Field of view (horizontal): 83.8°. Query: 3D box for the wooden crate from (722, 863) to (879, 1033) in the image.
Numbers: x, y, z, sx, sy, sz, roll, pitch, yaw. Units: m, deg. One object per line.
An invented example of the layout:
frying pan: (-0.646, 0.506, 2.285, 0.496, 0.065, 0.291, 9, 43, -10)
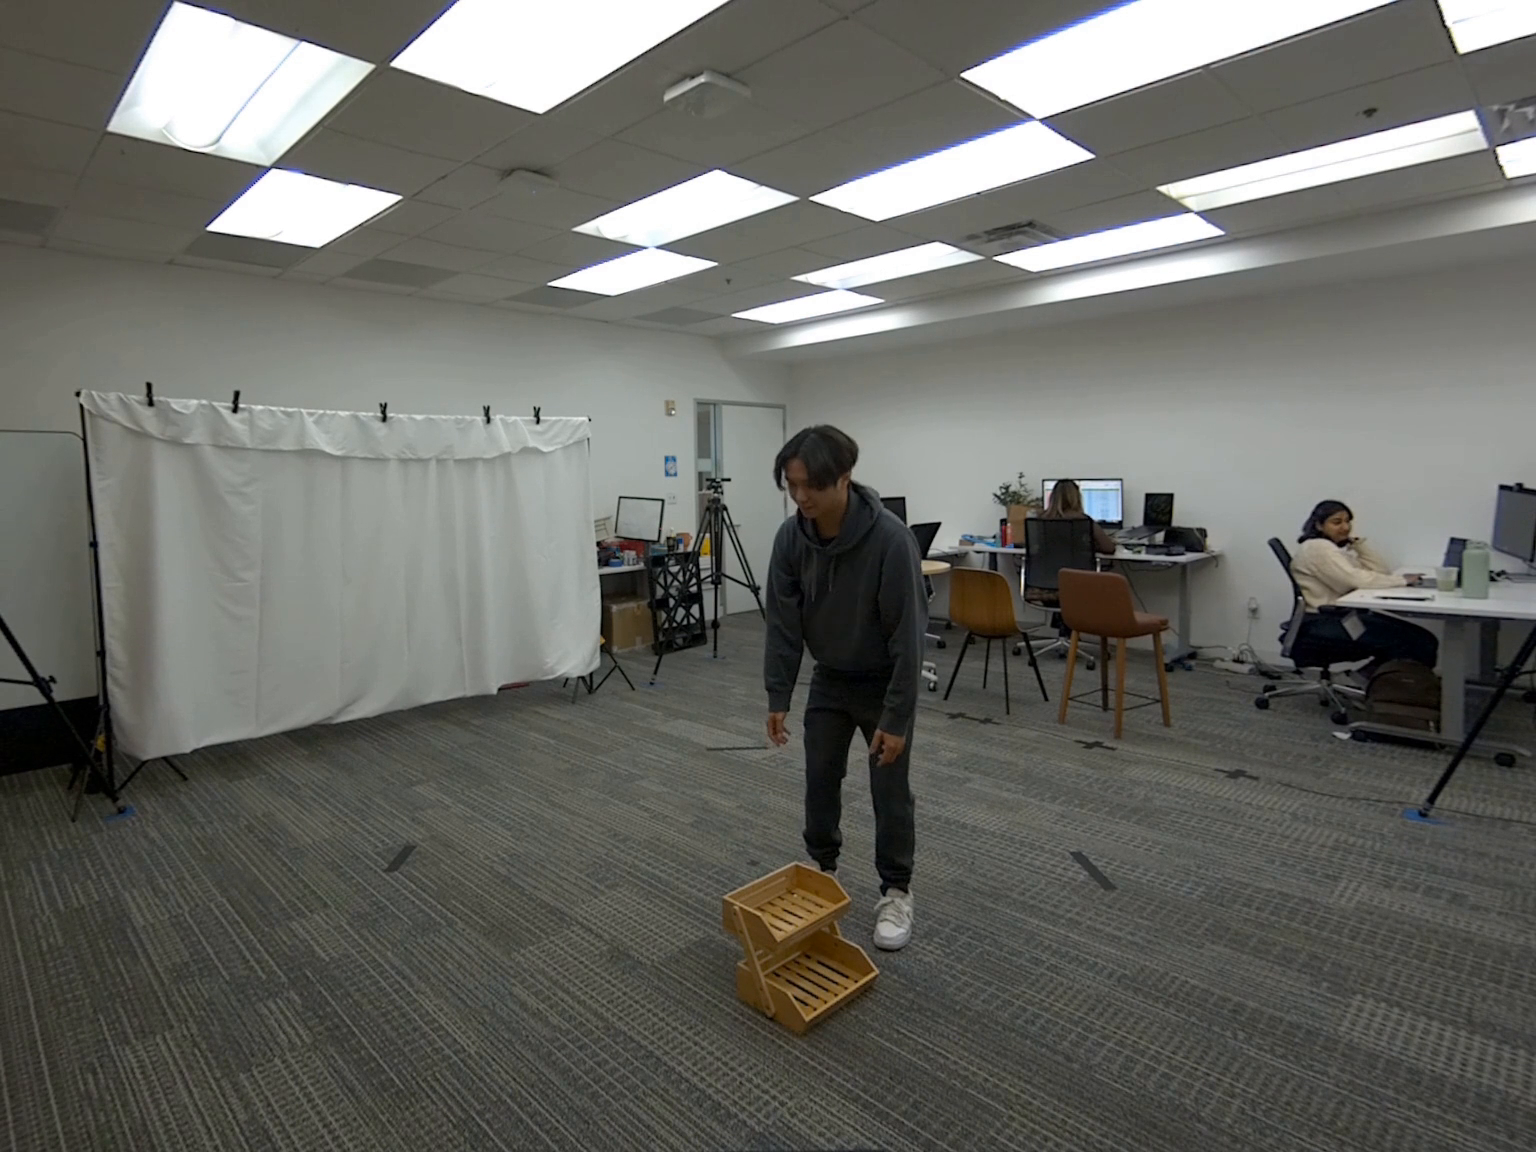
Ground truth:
wooden crate: (0.081, 0.998, 2.335, 0.316, 0.272, 0.311, -7, 7, -44)
